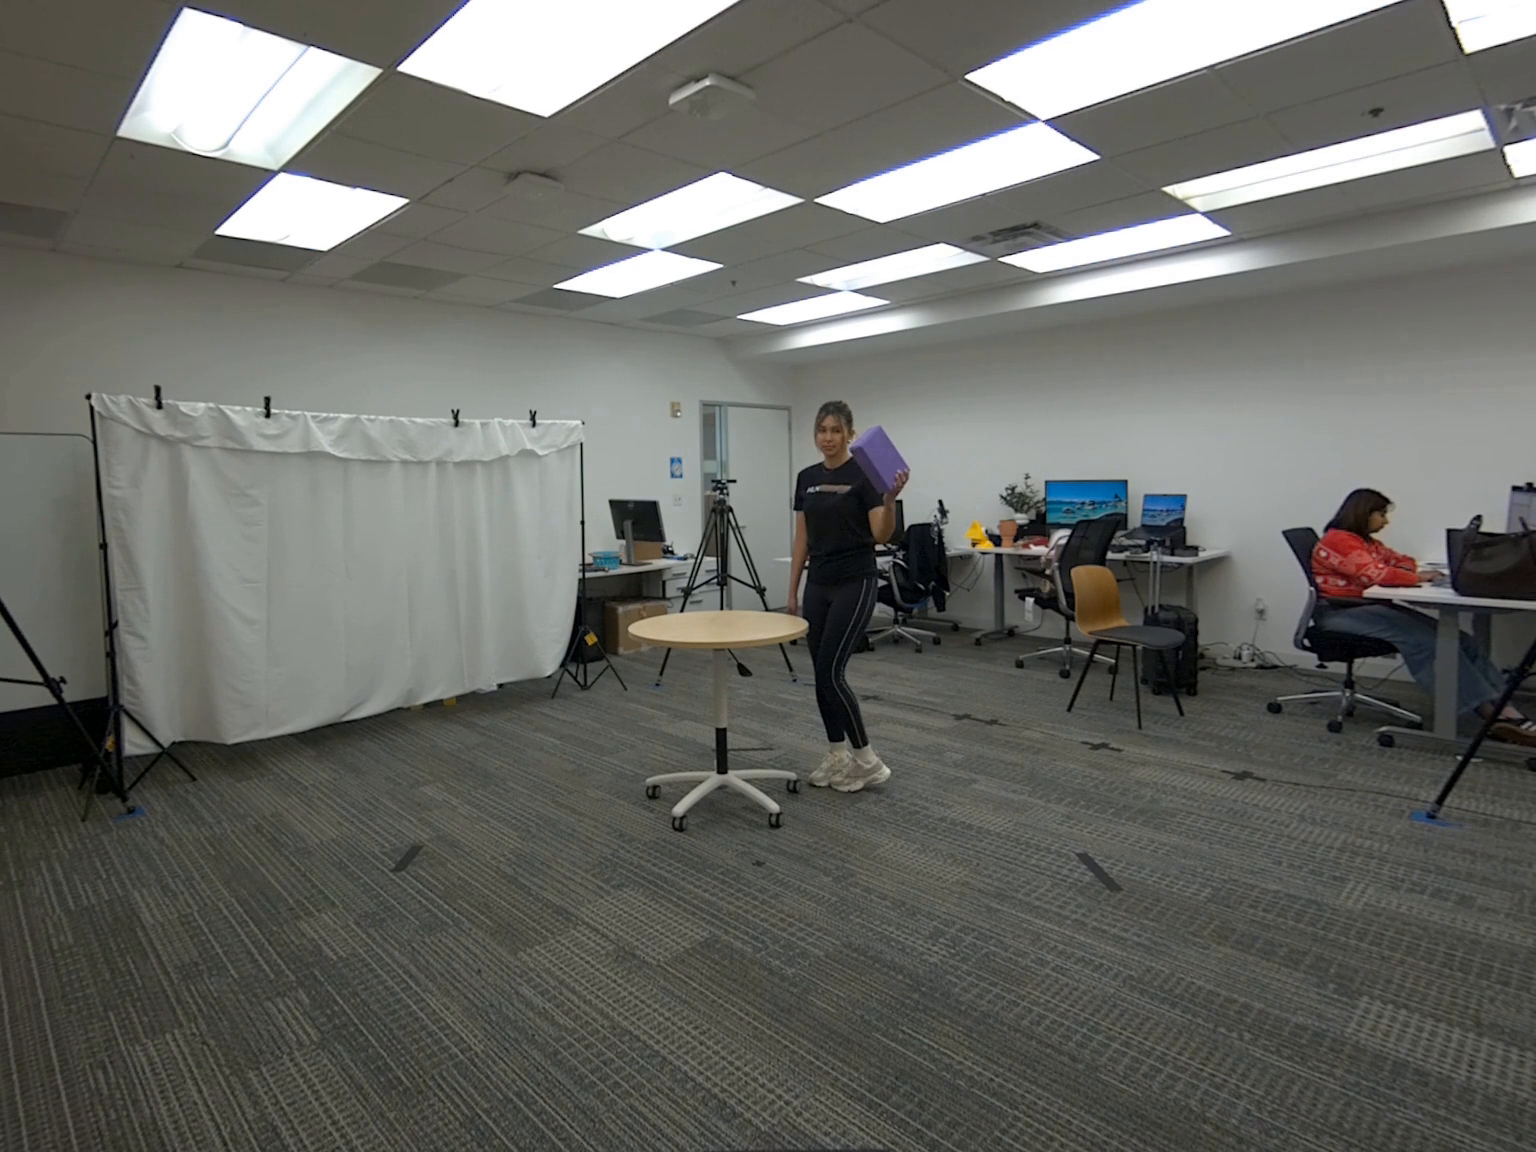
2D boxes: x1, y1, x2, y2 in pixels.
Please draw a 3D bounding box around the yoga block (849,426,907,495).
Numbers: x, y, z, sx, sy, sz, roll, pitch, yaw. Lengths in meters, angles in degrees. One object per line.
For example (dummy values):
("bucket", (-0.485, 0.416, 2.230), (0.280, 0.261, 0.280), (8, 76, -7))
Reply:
("yoga block", (0.426, -0.455, 3.353), (0.149, 0.225, 0.078), (-45, 16, -26))
